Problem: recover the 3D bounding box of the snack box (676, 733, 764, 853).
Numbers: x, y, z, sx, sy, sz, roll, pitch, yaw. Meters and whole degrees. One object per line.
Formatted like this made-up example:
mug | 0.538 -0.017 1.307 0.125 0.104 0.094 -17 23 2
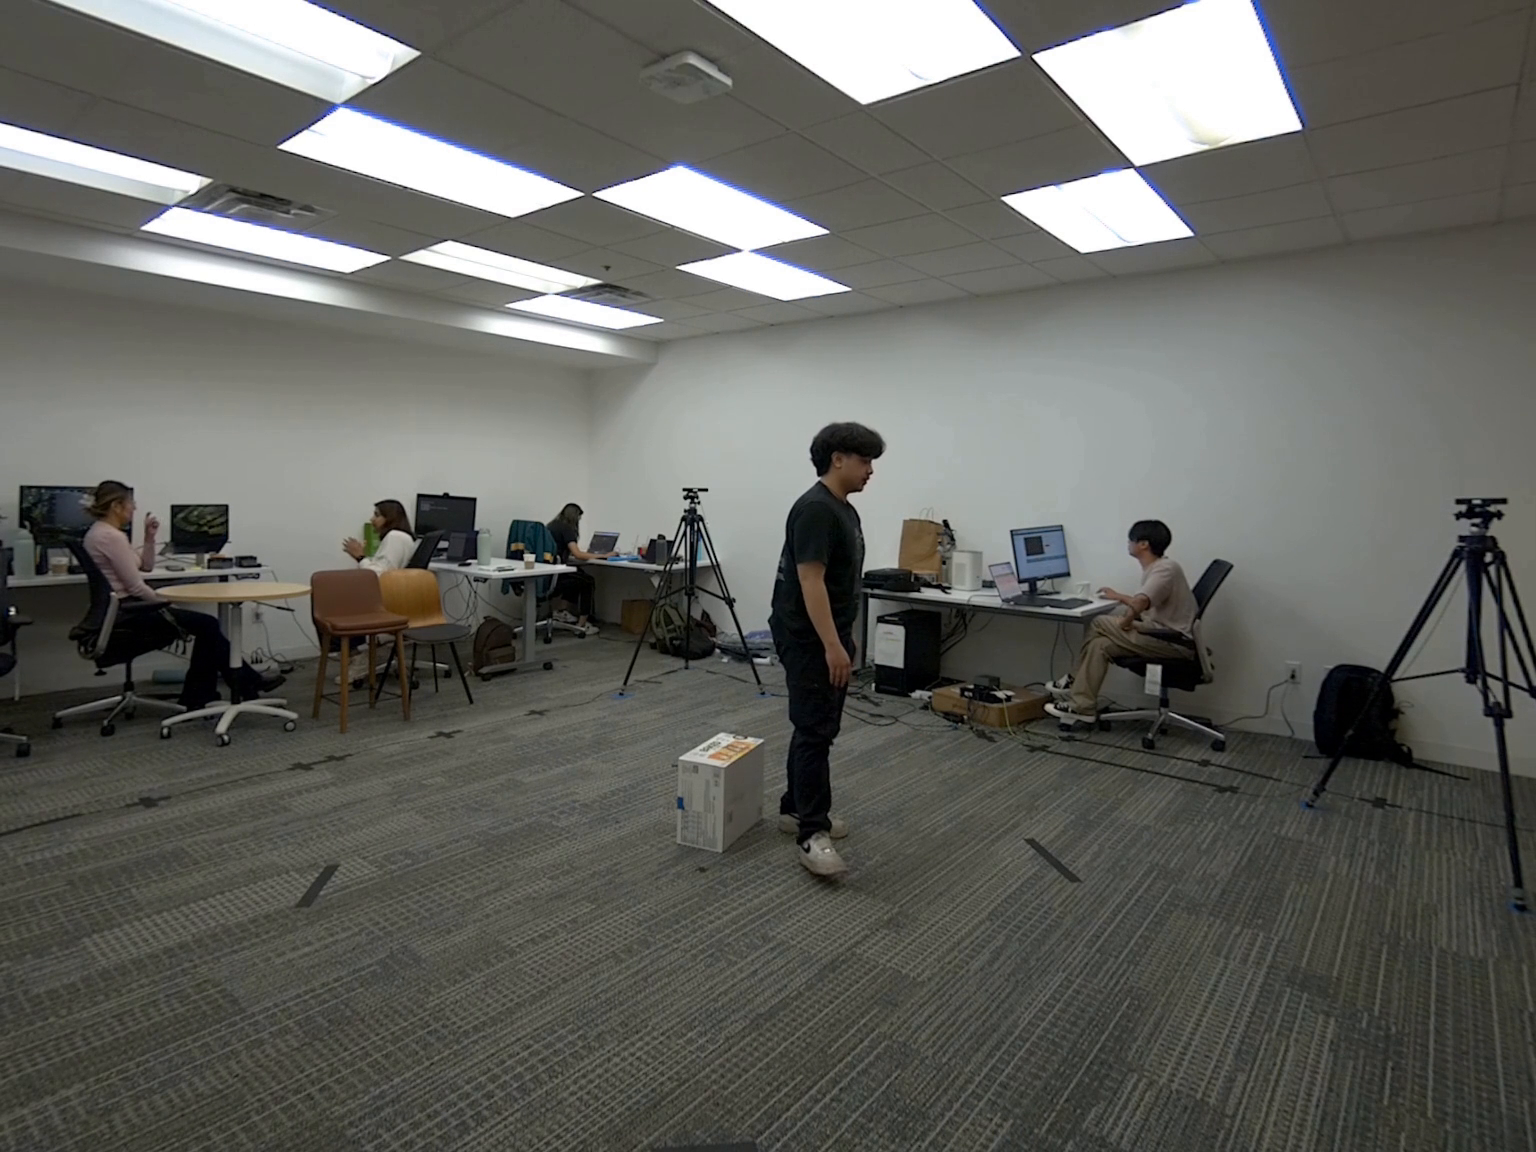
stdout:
snack box | -0.195 0.865 3.460 0.211 0.339 0.397 3 5 23
